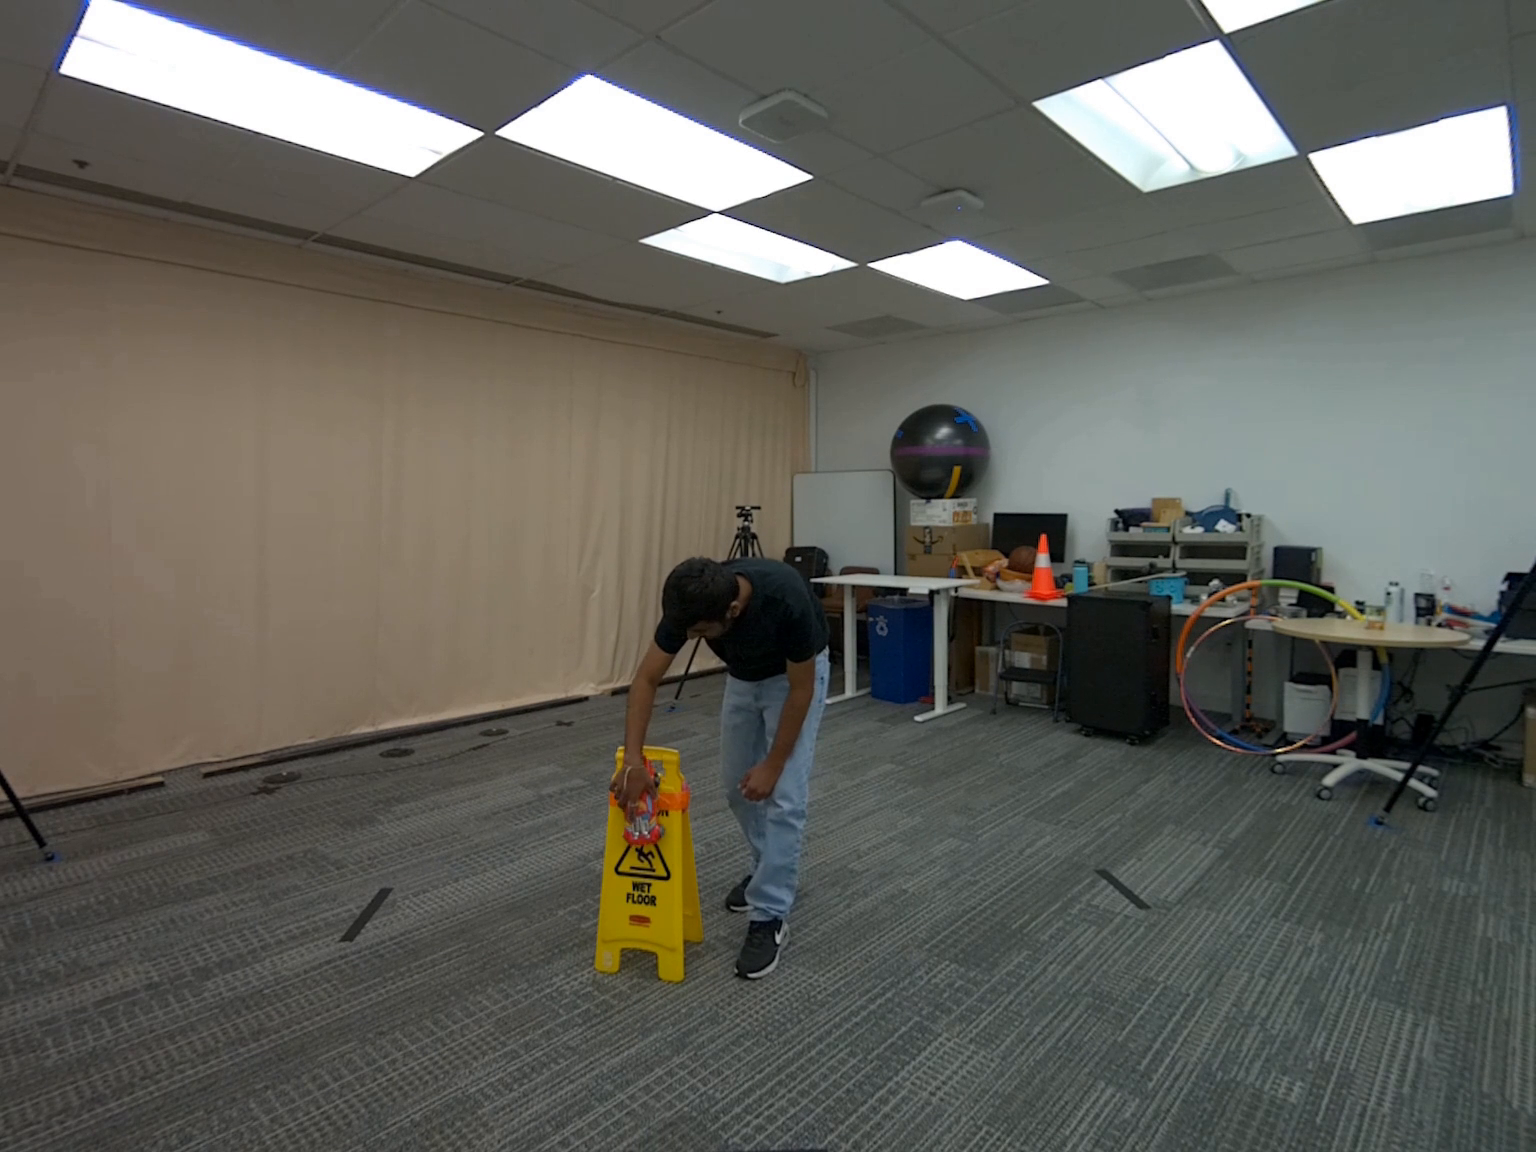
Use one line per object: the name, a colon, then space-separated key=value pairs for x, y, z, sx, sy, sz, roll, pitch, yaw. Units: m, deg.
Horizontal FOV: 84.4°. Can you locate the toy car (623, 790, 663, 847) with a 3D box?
toy car: x=-0.377 y=0.671 z=2.522 sx=0.132 sy=0.256 sz=0.082 roll=-10 pitch=-5 yaw=12
